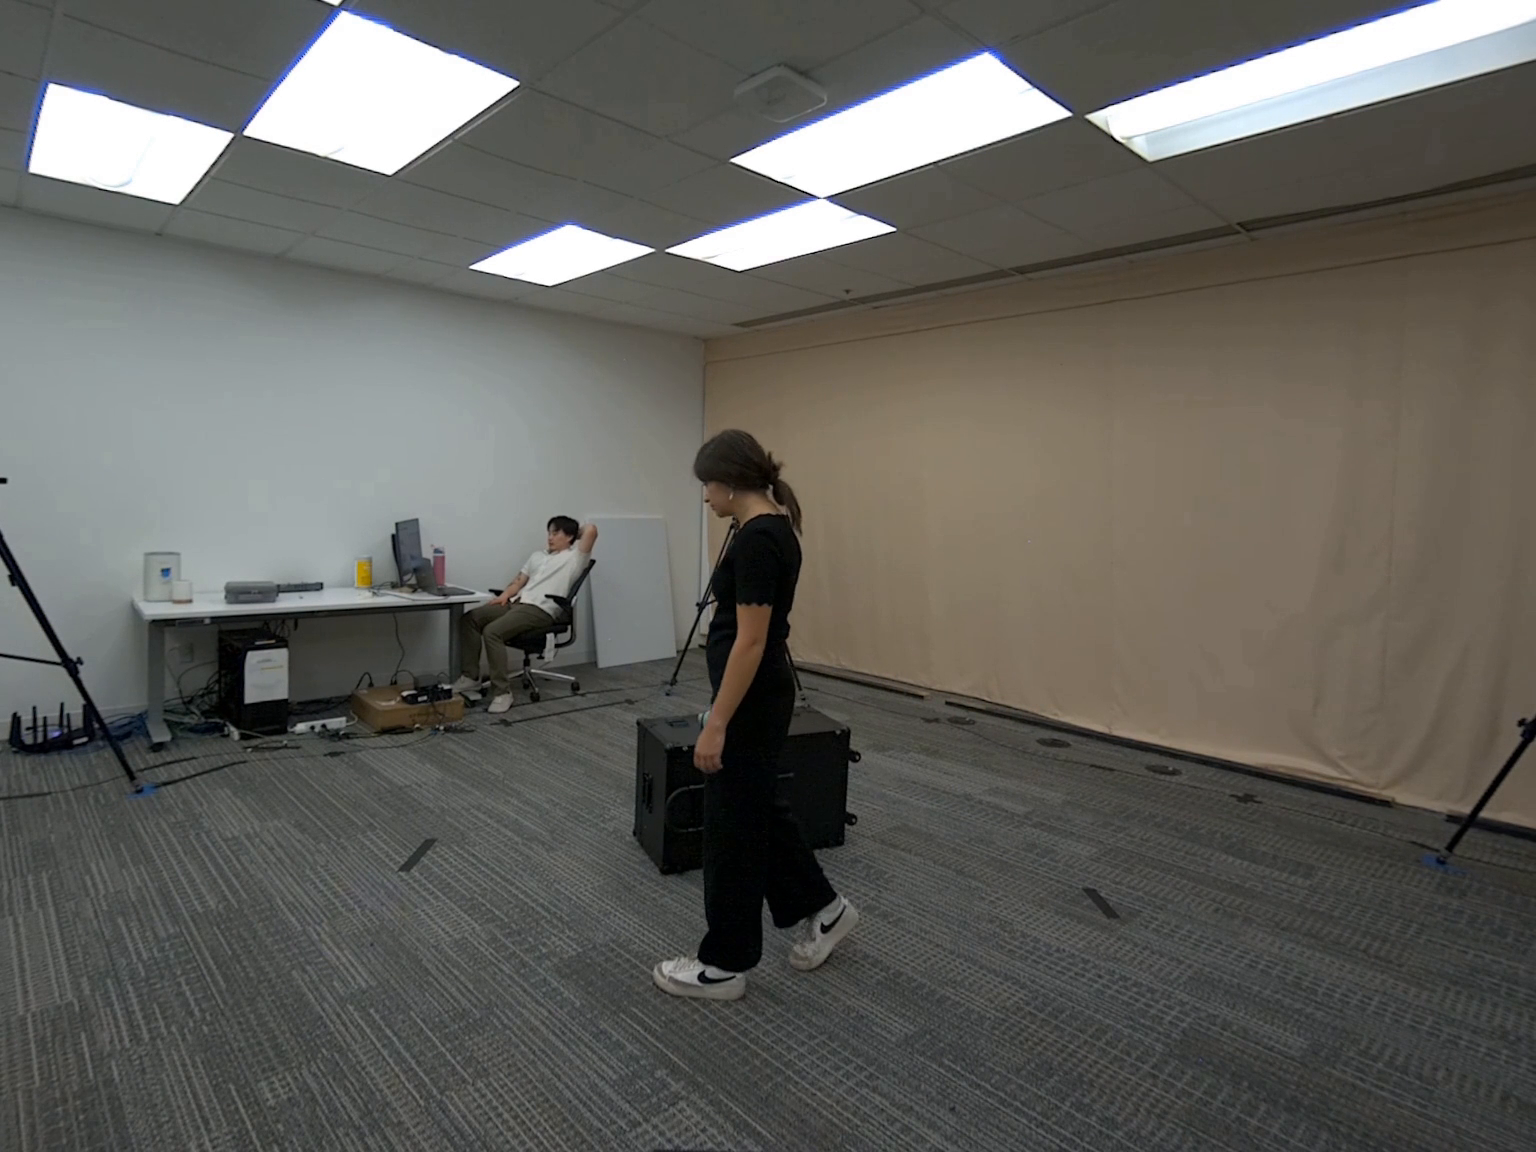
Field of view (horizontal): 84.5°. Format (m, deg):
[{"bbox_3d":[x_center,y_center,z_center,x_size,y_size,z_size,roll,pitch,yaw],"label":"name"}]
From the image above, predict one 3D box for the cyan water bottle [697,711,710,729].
[{"bbox_3d":[-0.096,0.468,2.689,0.287,0.092,0.091,-14,-2,24],"label":"cyan water bottle"}]
